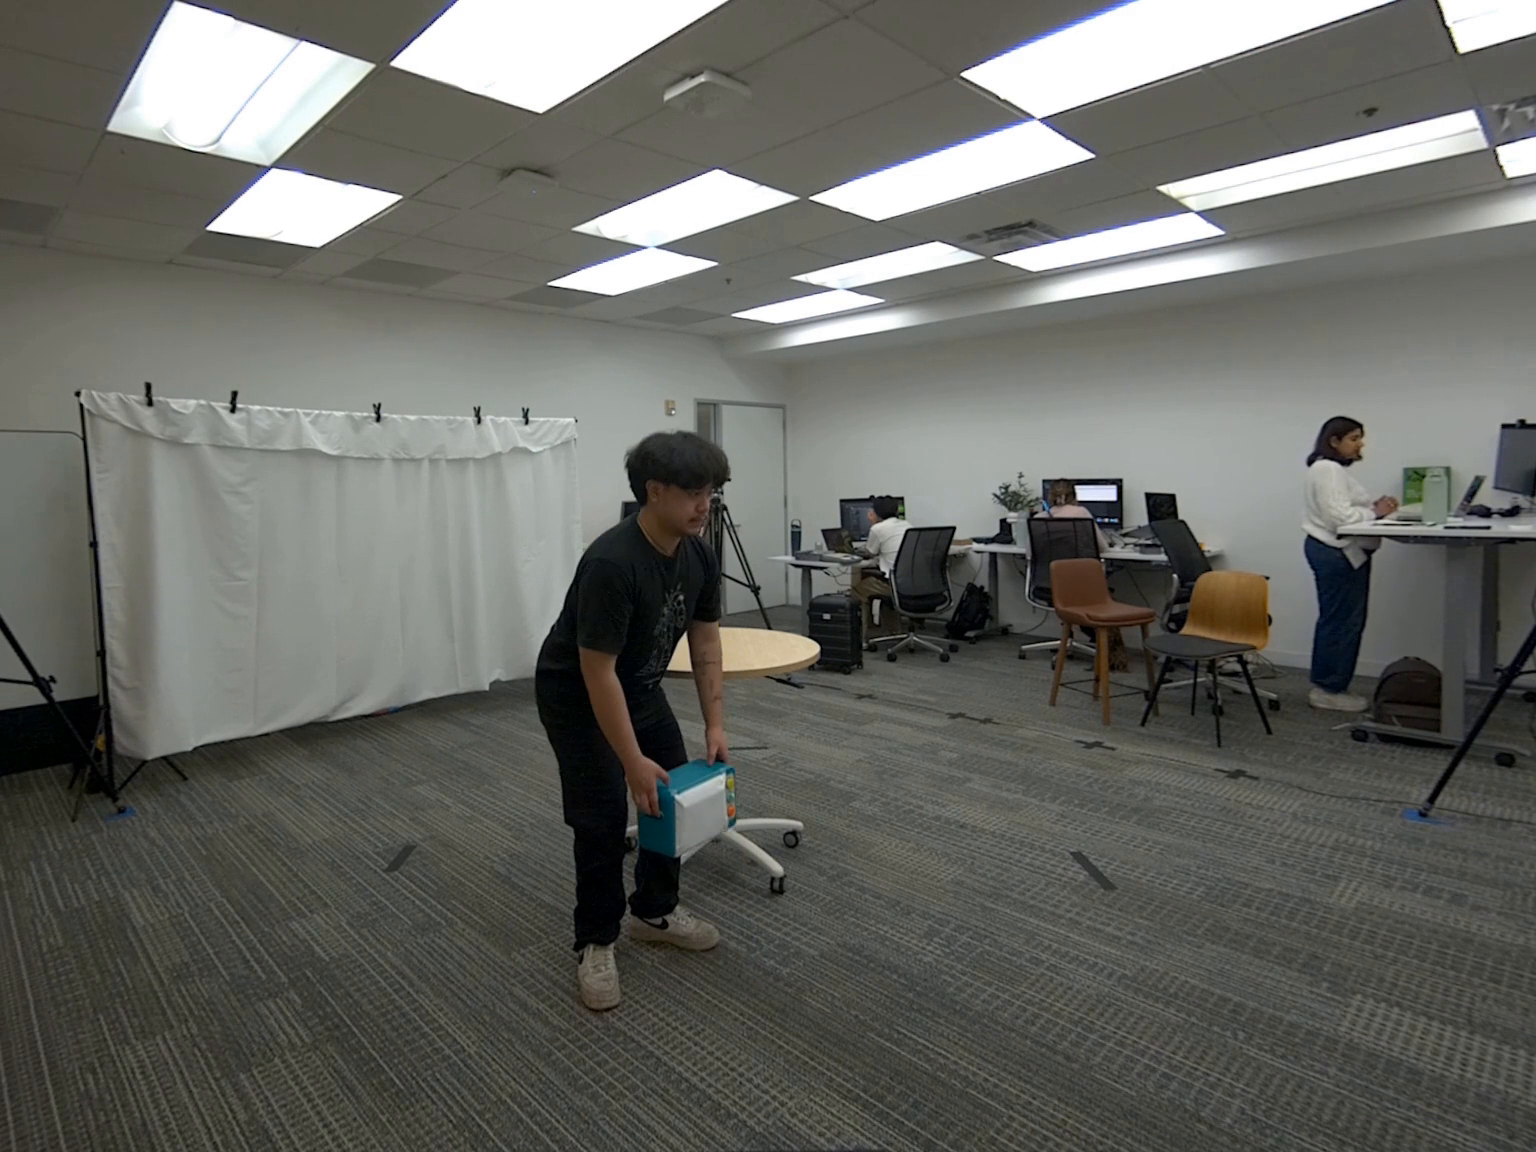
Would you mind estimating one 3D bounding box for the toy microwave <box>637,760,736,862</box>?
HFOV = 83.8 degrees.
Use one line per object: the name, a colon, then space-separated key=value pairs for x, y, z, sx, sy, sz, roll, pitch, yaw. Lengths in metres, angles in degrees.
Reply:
toy microwave: x=-0.219 y=0.628 z=2.333 sx=0.157 sy=0.183 sz=0.279 roll=0 pitch=6 yaw=38
